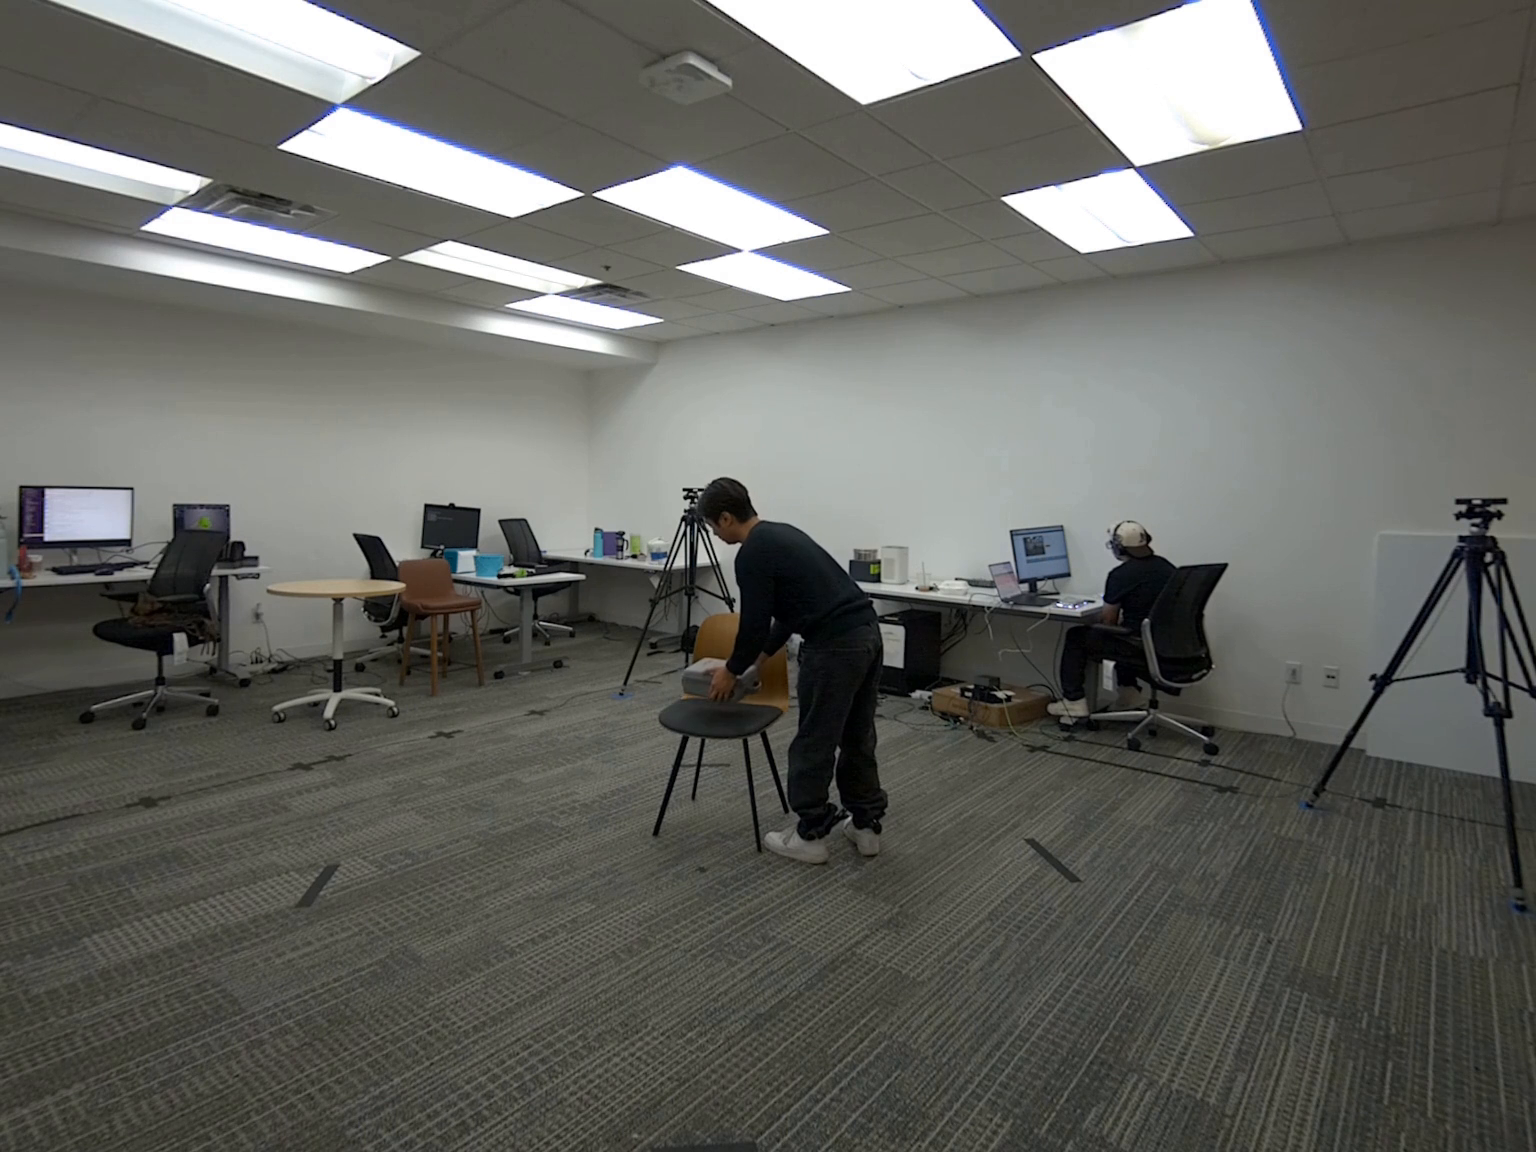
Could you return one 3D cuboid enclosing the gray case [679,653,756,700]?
[{"bbox_3d":[-0.206,0.405,3.447,0.264,0.104,0.255,5,5,9],"label":"gray case"}]
